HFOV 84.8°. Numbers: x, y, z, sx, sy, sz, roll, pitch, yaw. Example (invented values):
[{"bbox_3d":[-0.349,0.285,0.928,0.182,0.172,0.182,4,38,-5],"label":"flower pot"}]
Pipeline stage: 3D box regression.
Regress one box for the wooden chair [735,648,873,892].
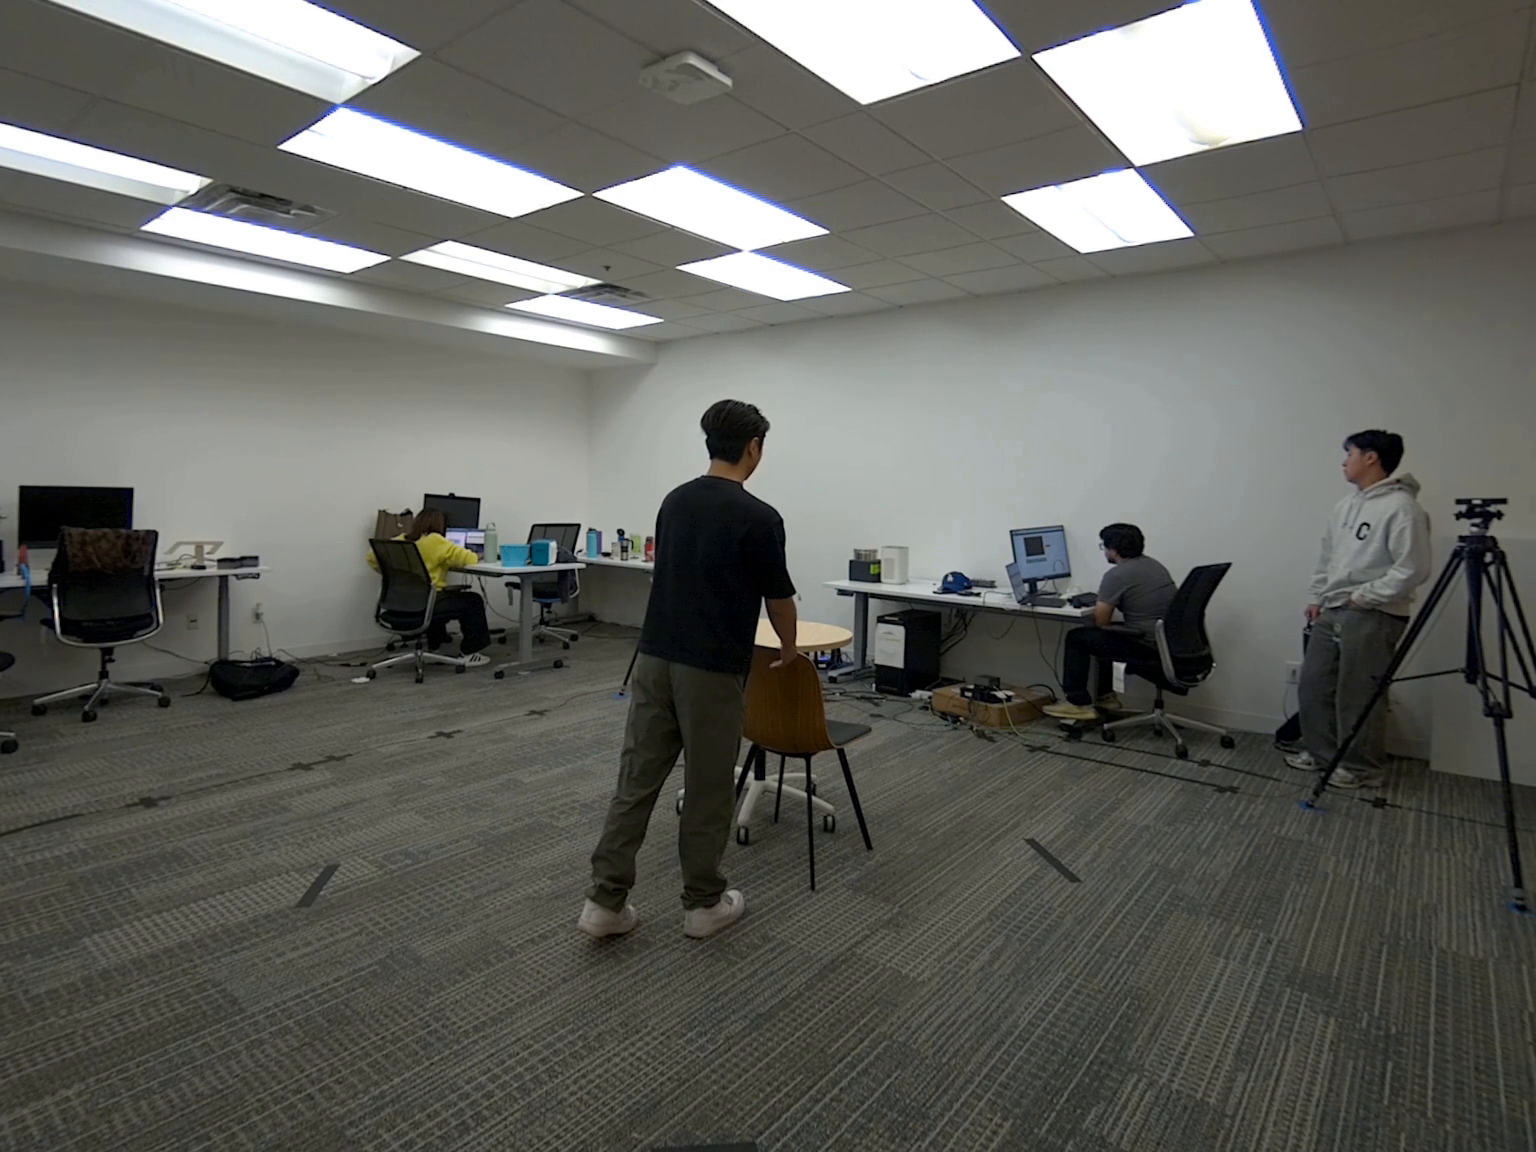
[{"bbox_3d":[0.101,0.632,3.247,0.493,0.871,0.510,4,9,35],"label":"wooden chair"}]
